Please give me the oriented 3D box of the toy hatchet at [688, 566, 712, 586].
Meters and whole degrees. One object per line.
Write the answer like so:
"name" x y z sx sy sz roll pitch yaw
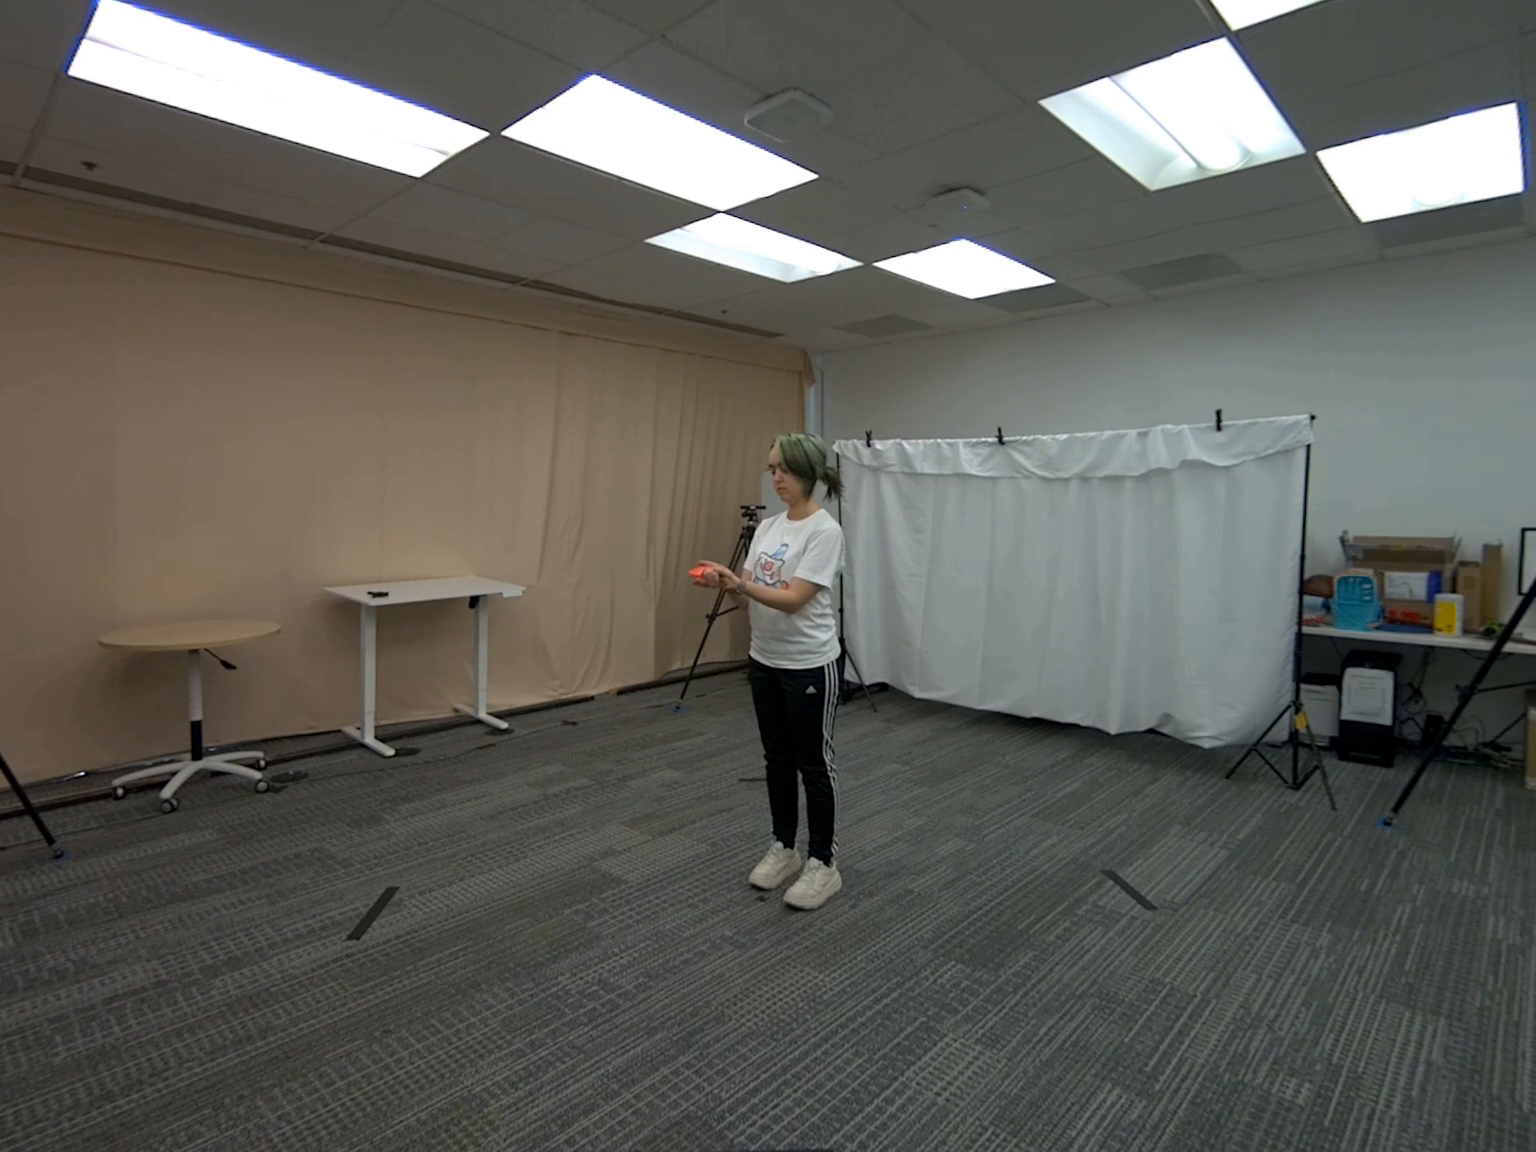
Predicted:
"toy hatchet" -0.156 0.014 2.715 0.129 0.029 0.276 -4 14 -15
